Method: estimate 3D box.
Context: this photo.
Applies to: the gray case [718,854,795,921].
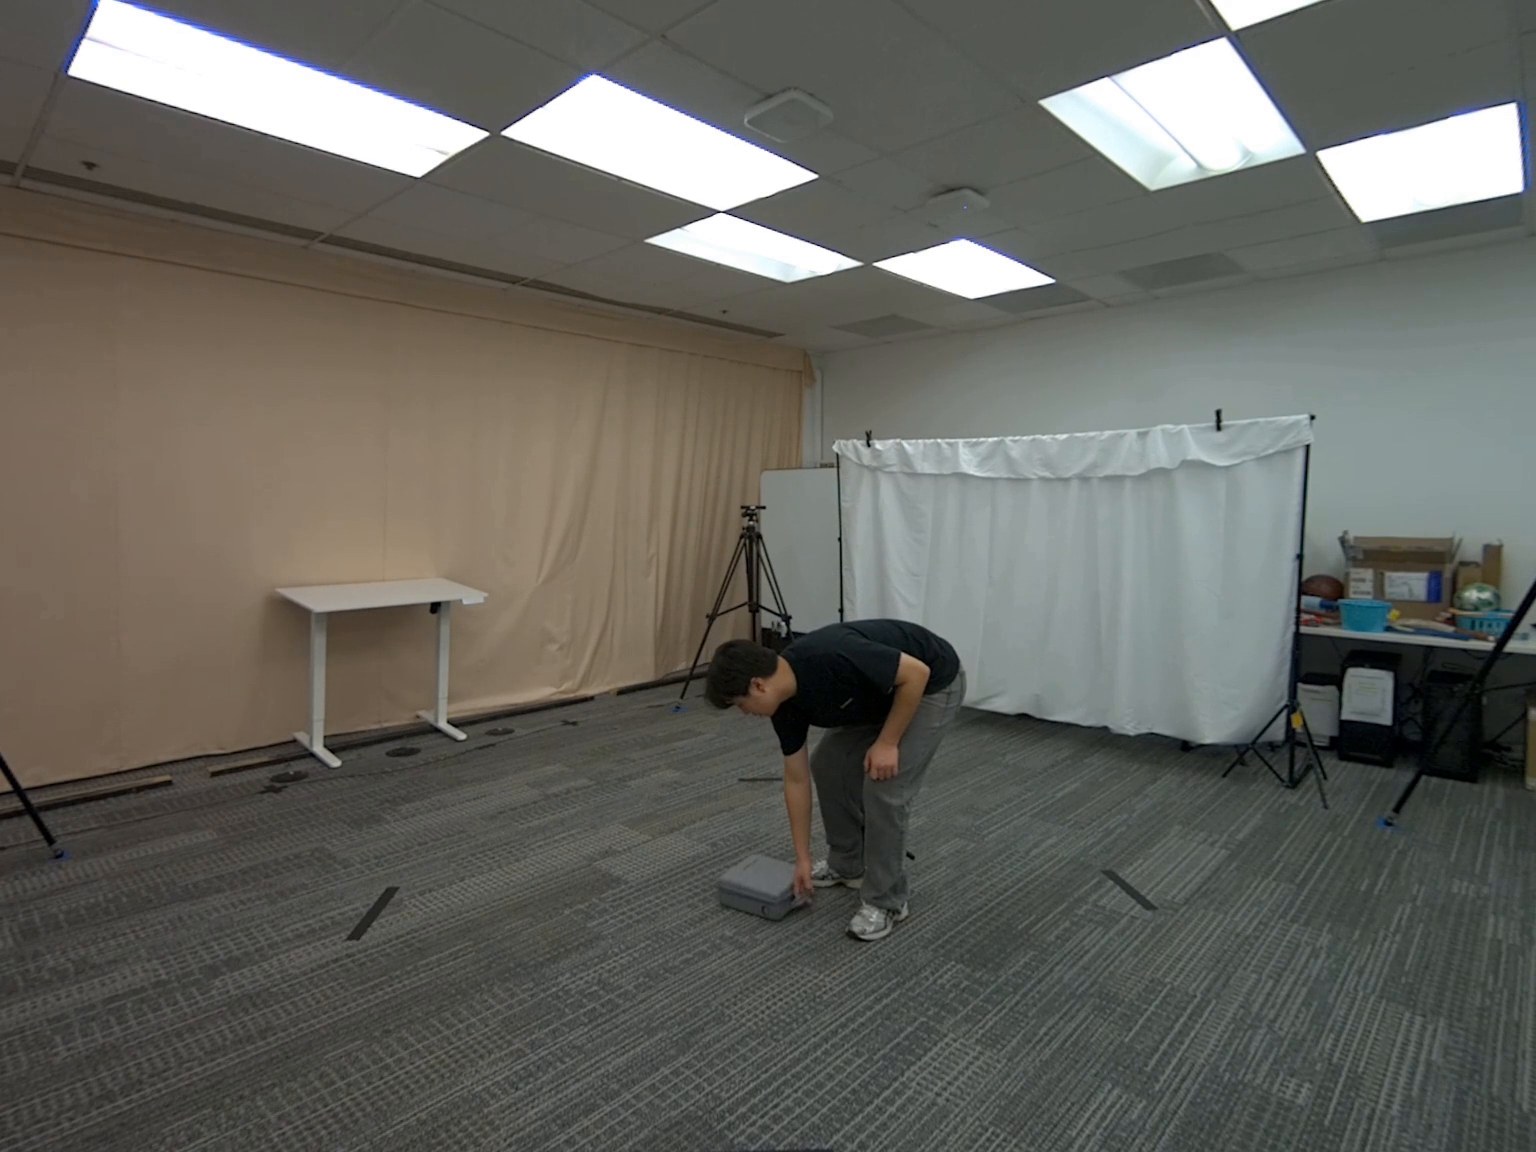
[{"bbox_3d":[0.000,1.095,2.967,0.296,0.103,0.256,3,6,32],"label":"gray case"}]
